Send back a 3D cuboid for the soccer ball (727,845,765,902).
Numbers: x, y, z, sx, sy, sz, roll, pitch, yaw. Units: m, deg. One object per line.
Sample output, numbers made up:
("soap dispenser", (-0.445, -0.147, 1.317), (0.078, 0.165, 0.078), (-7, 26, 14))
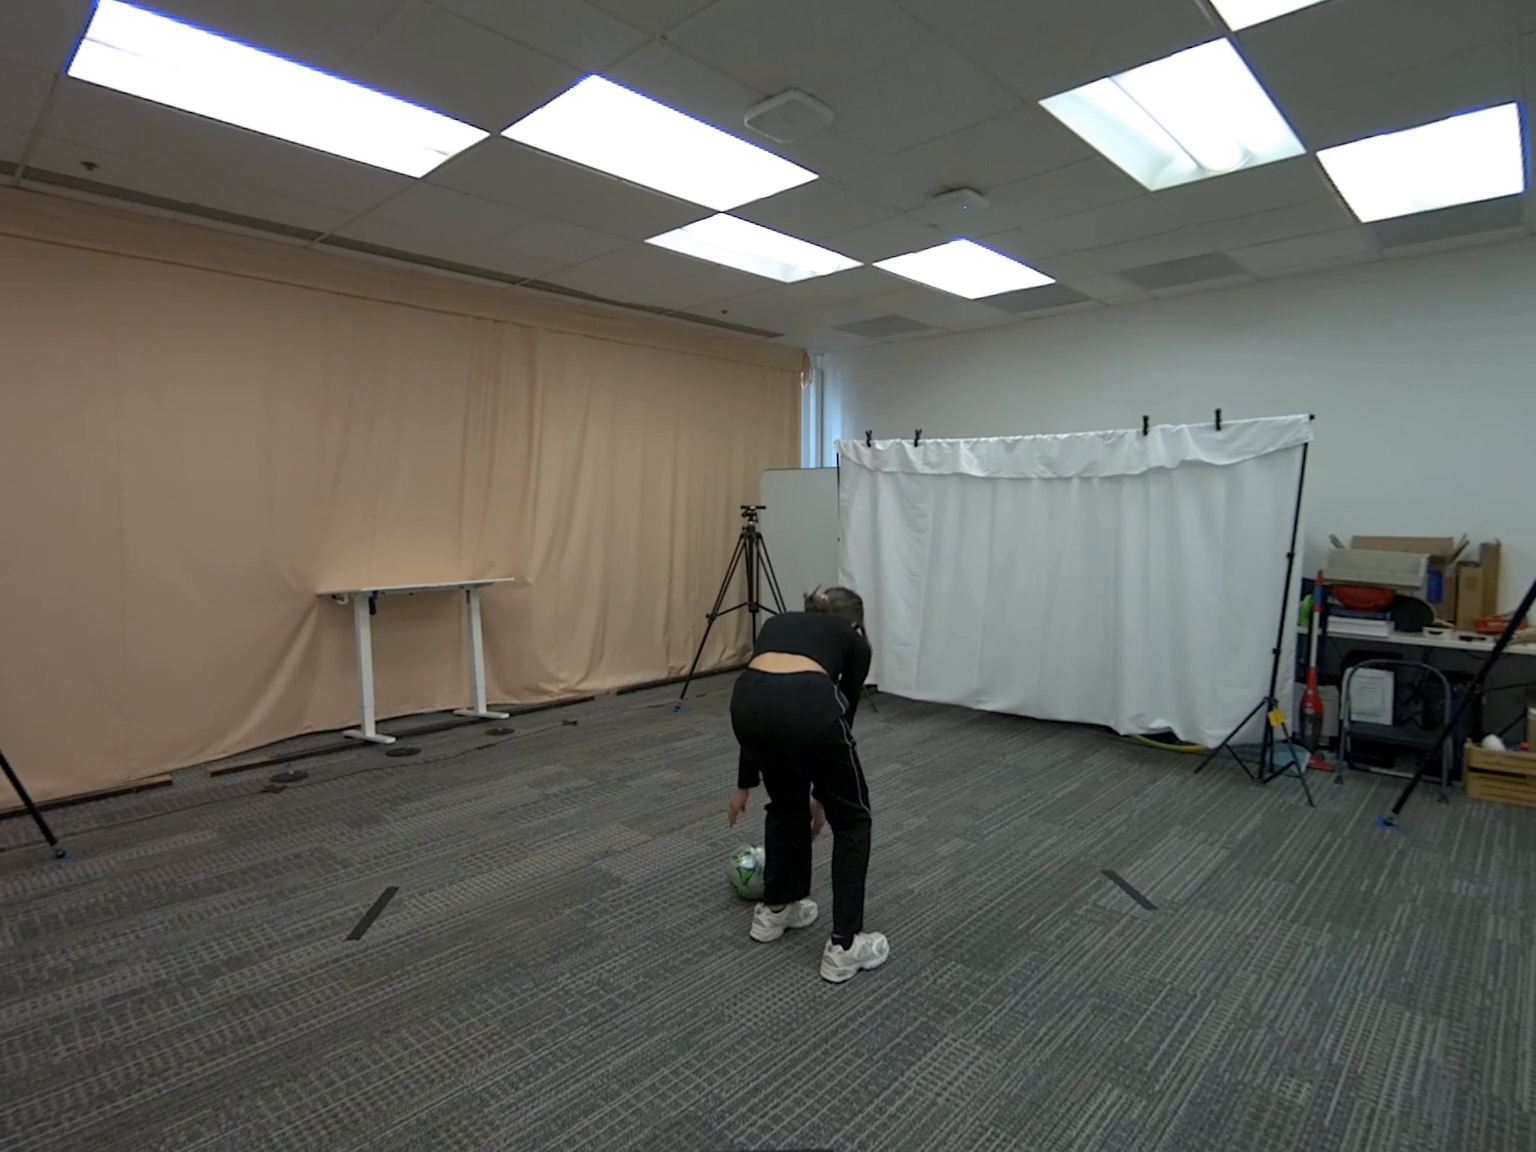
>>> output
("soccer ball", (-0.056, 1.049, 2.997), (0.187, 0.187, 0.188), (0, 4, -2))
